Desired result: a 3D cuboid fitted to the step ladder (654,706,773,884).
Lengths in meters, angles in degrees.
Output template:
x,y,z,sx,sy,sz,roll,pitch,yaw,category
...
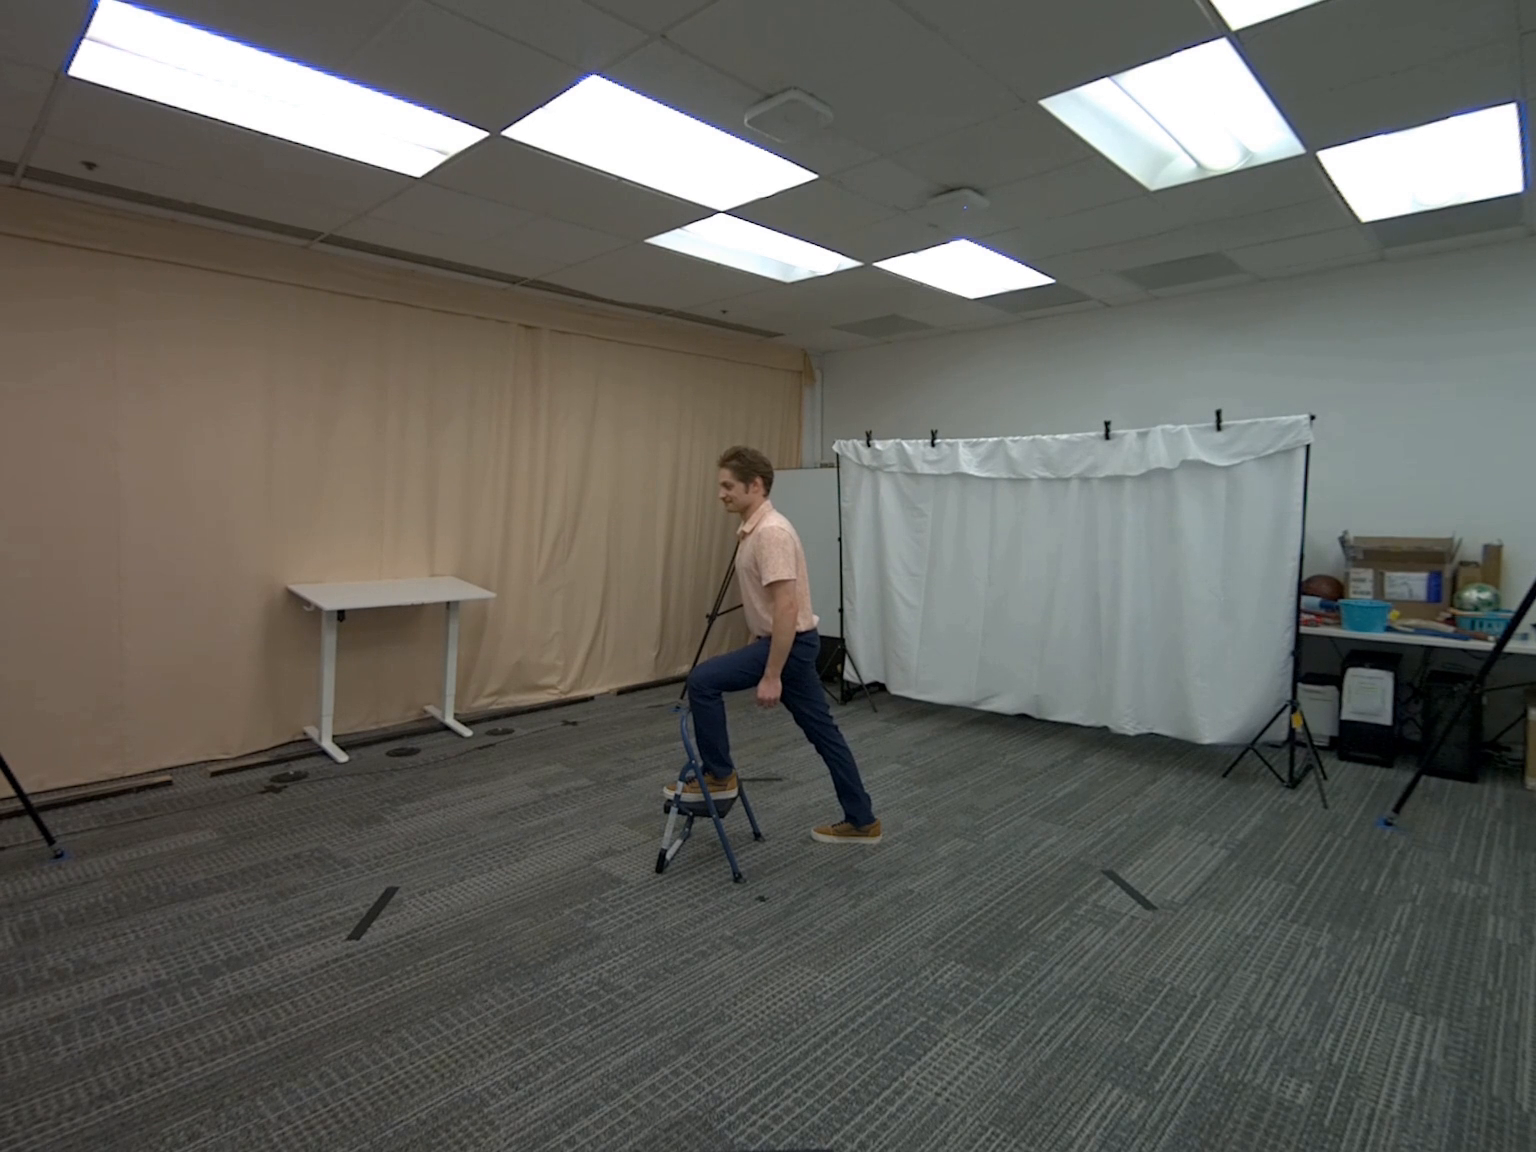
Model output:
x,y,z,sx,sy,sz,roll,pitch,yaw,category
-0.225,0.813,3.336,0.354,0.605,0.426,0,3,11,step ladder
